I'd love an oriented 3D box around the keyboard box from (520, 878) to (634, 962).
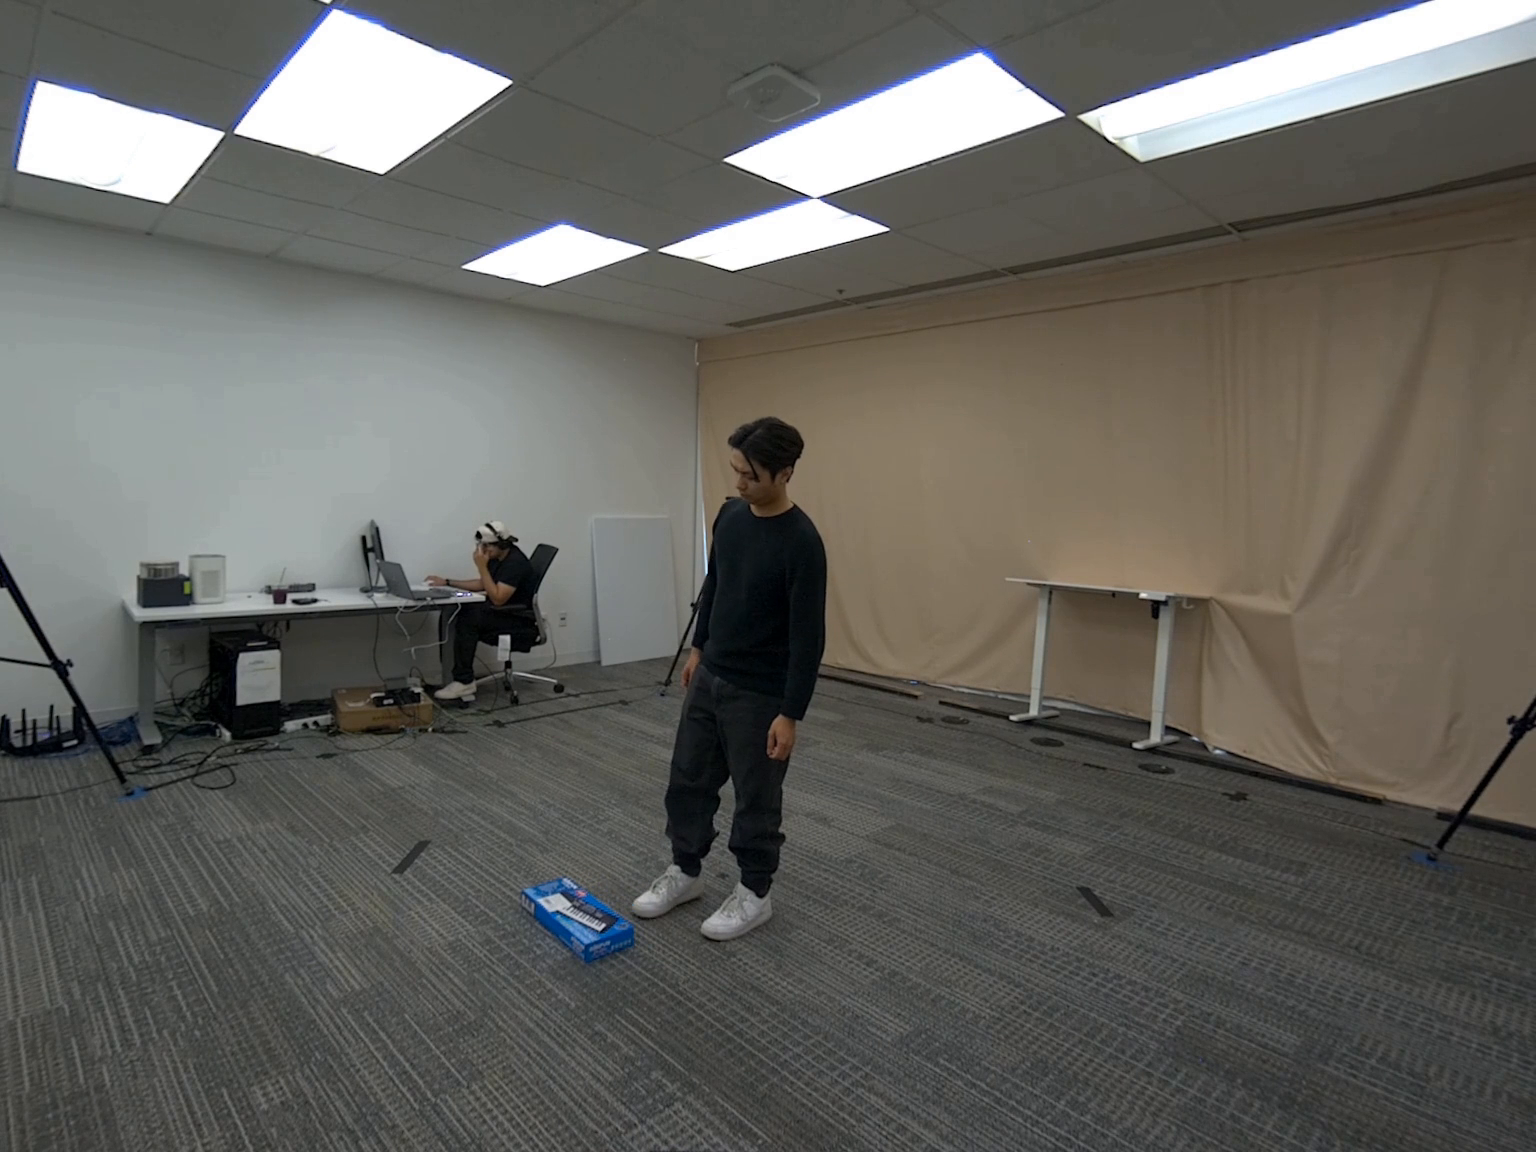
[{"bbox_3d":[-0.627,1.100,2.713,0.172,0.059,0.448,-4,7,-40],"label":"keyboard box"}]
